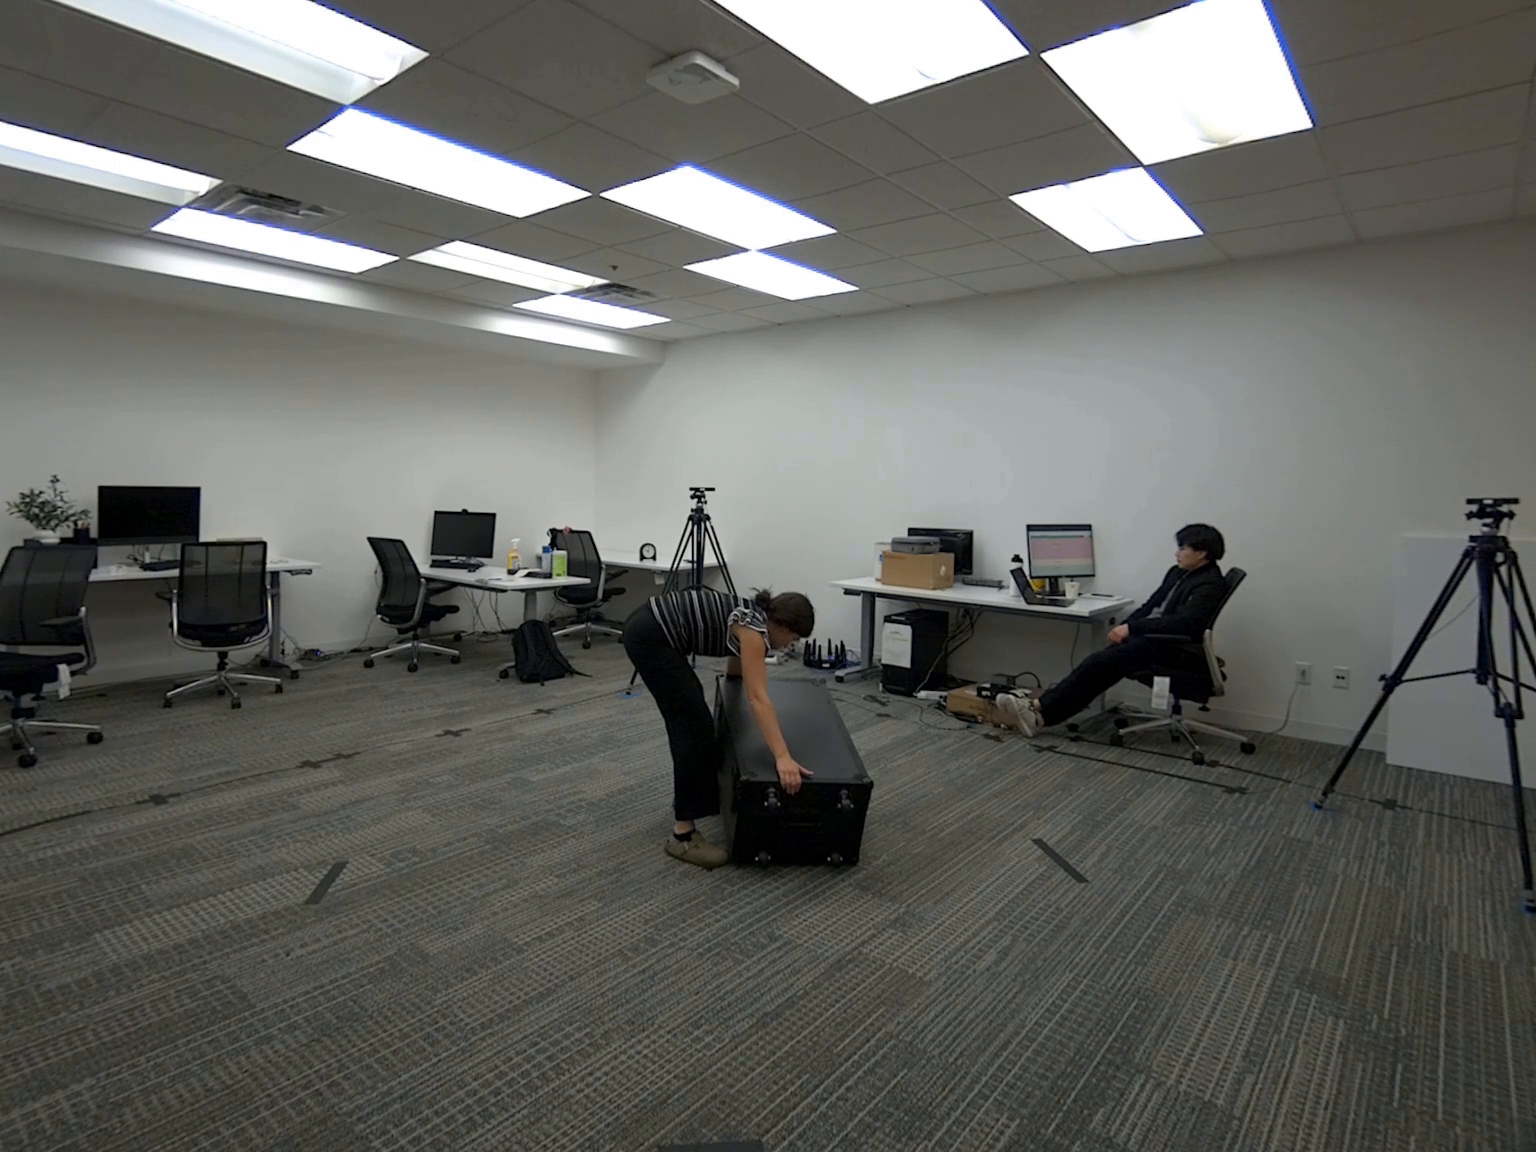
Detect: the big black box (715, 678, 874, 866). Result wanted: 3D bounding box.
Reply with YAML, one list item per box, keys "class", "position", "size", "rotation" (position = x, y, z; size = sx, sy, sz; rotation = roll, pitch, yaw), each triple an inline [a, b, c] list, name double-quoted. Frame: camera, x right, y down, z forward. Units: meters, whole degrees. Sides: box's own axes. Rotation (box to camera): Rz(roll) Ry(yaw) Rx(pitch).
- class: "big black box"
  position: [0.059, 0.769, 3.410]
  size: [0.518, 0.390, 0.880]
  rotation: [4, 19, -7]
